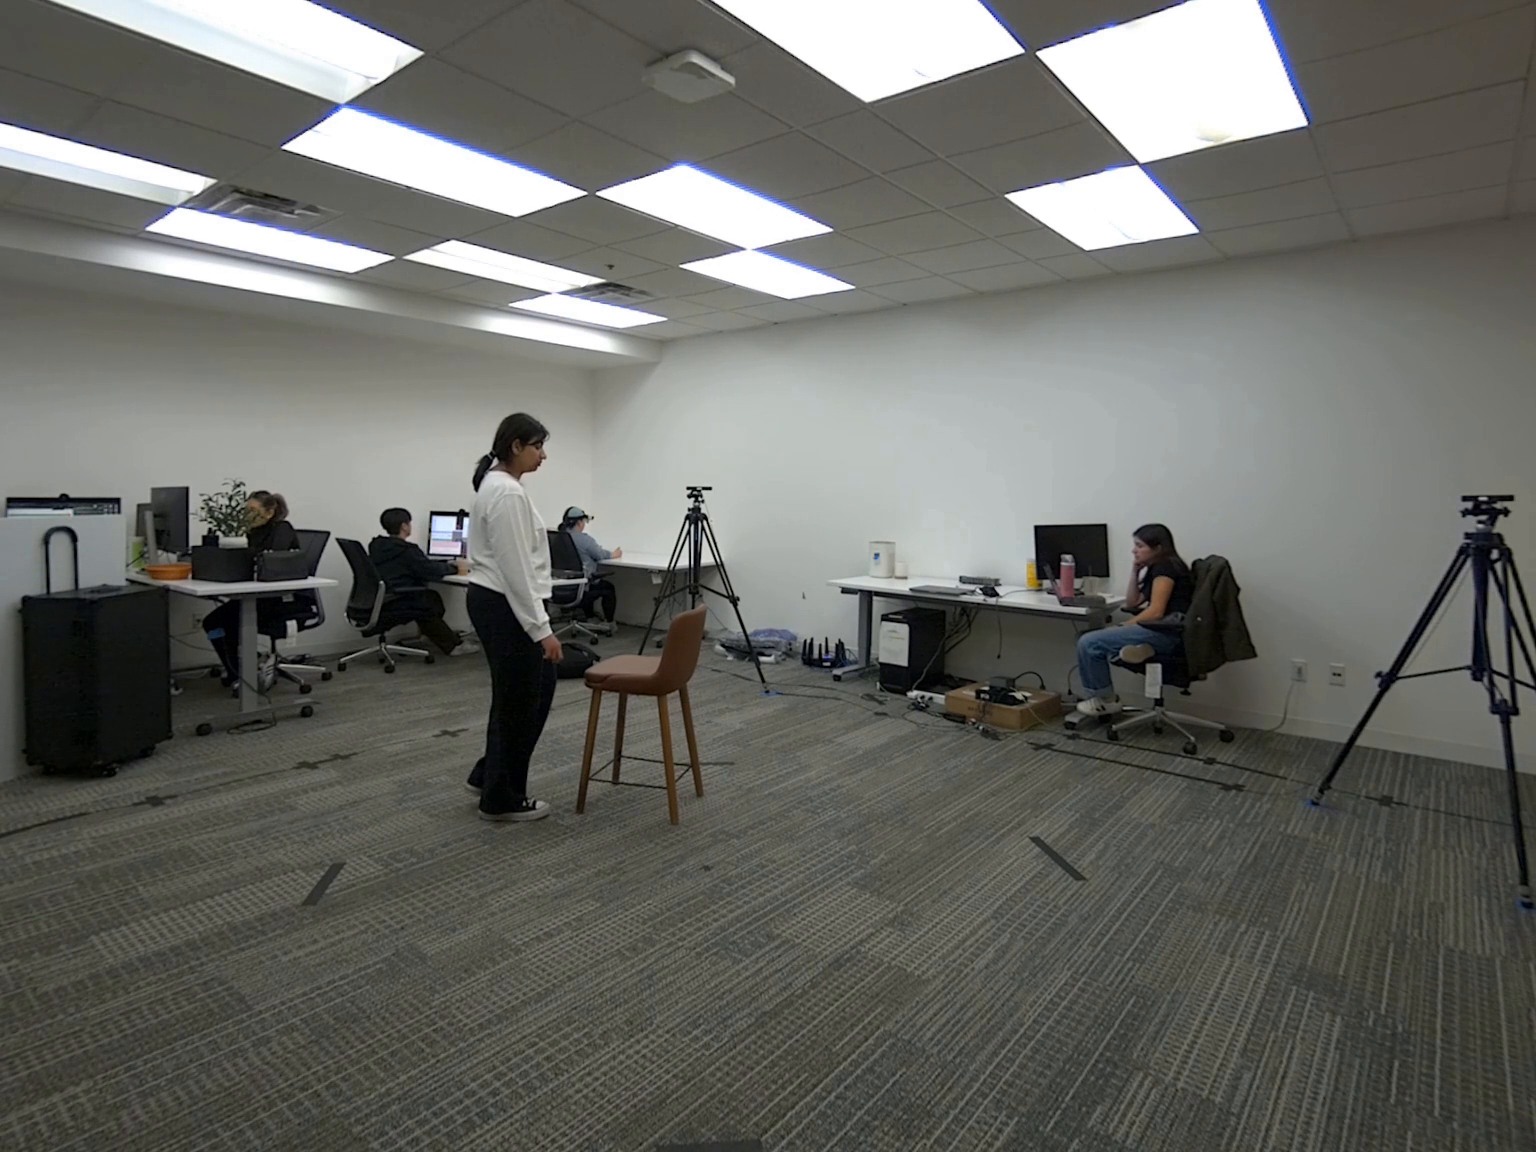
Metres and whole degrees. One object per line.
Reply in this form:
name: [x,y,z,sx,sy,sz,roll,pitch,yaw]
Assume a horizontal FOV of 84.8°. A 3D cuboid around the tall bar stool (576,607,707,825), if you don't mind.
tall bar stool: [-0.543,0.568,3.720,0.476,0.887,0.449,3,4,16]
